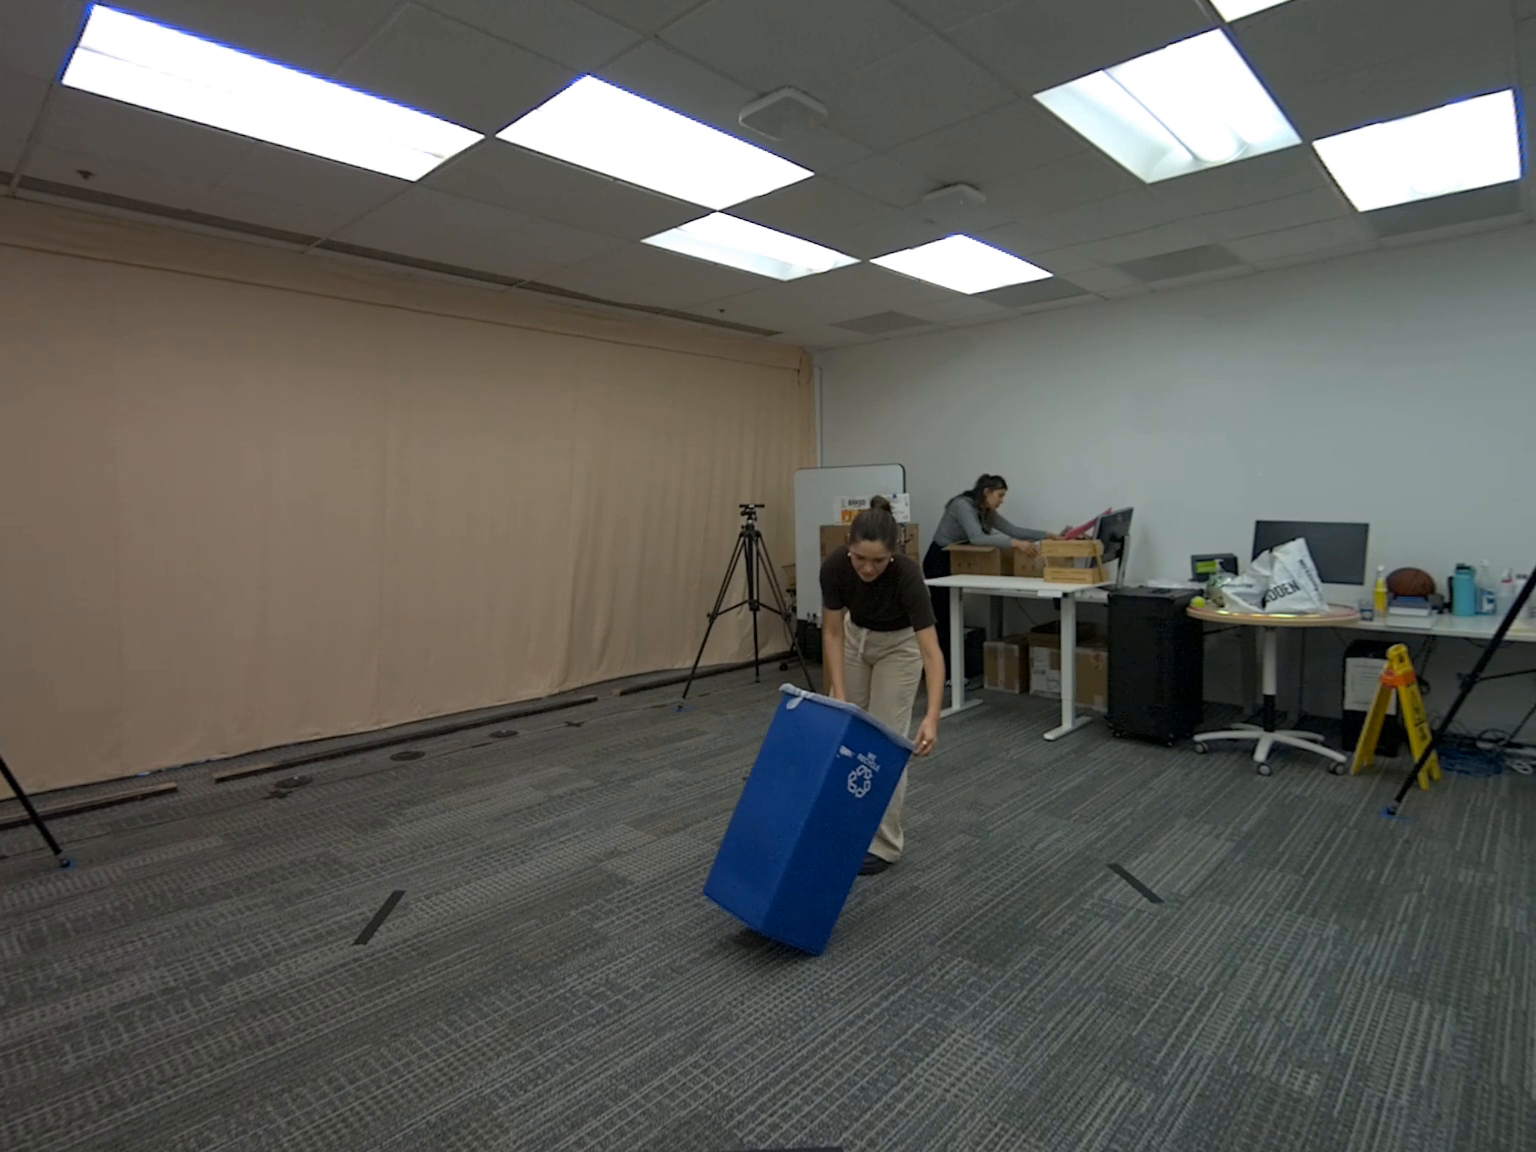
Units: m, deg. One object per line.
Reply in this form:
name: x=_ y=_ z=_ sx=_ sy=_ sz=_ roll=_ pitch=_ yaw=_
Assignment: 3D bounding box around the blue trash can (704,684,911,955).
blue trash can: x=0.130 y=0.778 z=2.732 sx=0.361 sy=0.714 sz=0.390 roll=35 pitch=-17 yaw=-35
